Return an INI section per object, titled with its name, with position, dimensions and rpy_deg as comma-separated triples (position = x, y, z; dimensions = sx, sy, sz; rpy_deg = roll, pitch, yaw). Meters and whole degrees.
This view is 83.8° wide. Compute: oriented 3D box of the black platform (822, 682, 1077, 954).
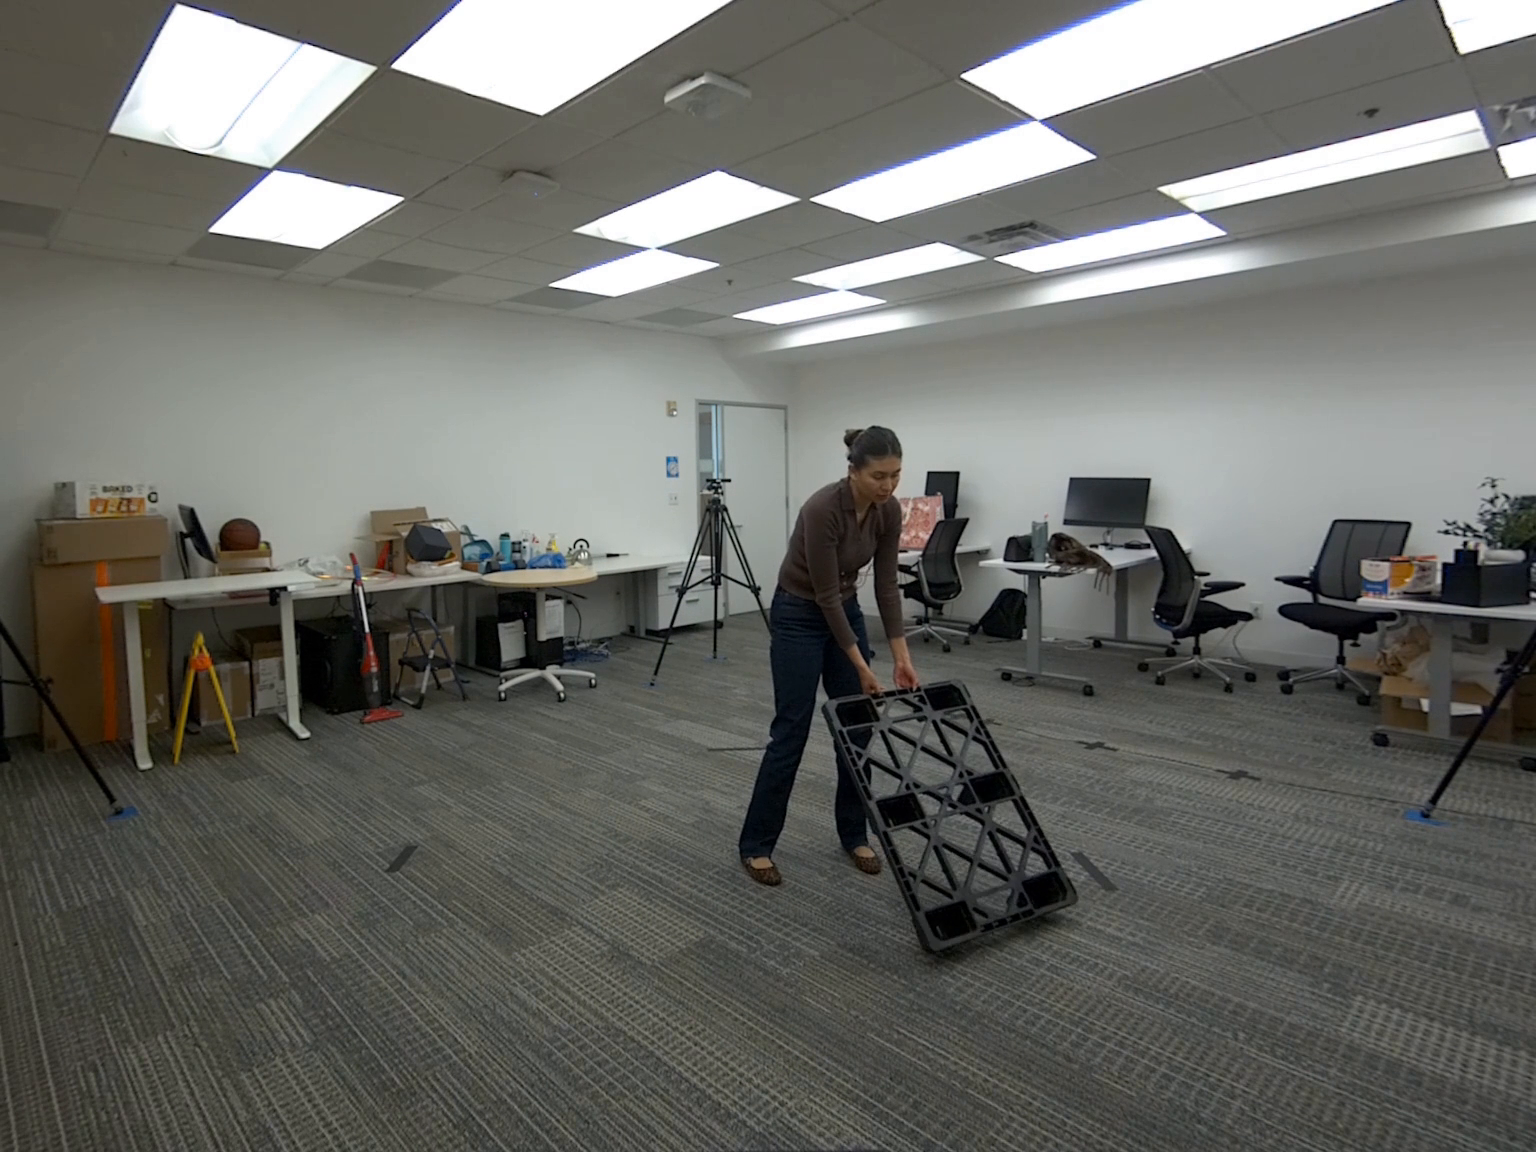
[black platform]
position = 0.565, 0.748, 2.792
dimensions = 0.591, 0.832, 0.142
rpy_deg = -3, -37, -28
